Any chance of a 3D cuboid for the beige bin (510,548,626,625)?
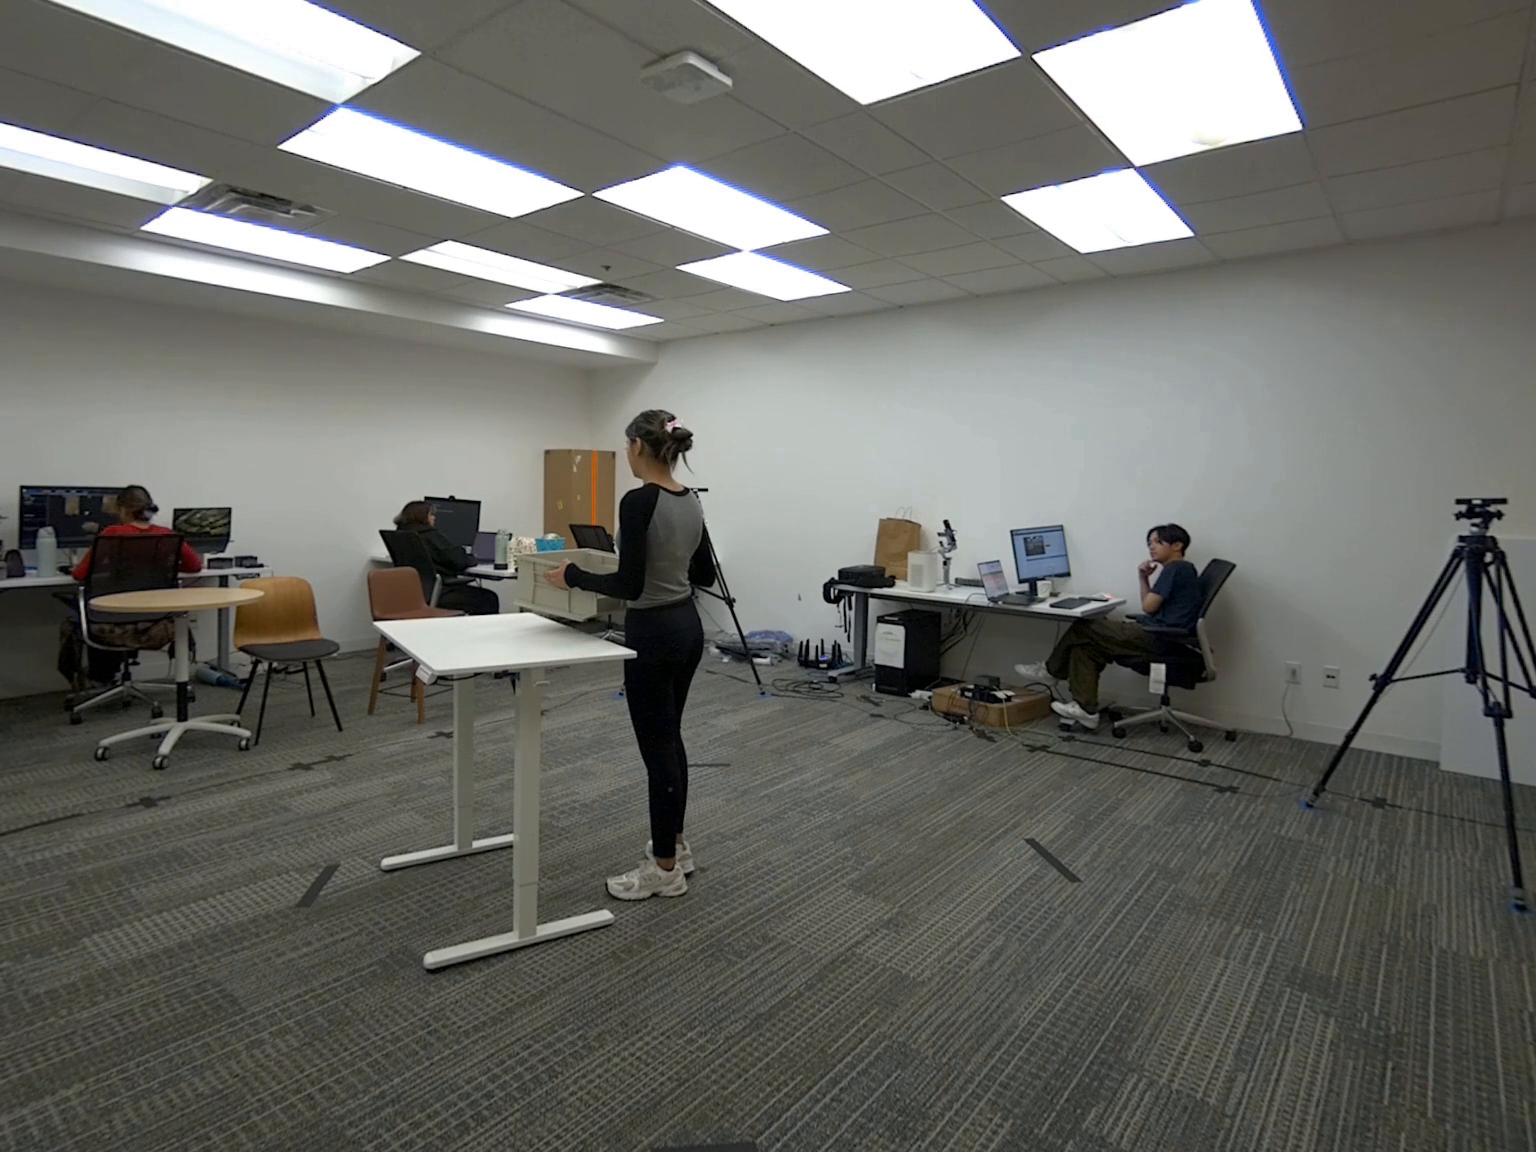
[{"bbox_3d":[-0.658,0.025,3.104,0.389,0.188,0.412,8,9,28],"label":"beige bin"}]
